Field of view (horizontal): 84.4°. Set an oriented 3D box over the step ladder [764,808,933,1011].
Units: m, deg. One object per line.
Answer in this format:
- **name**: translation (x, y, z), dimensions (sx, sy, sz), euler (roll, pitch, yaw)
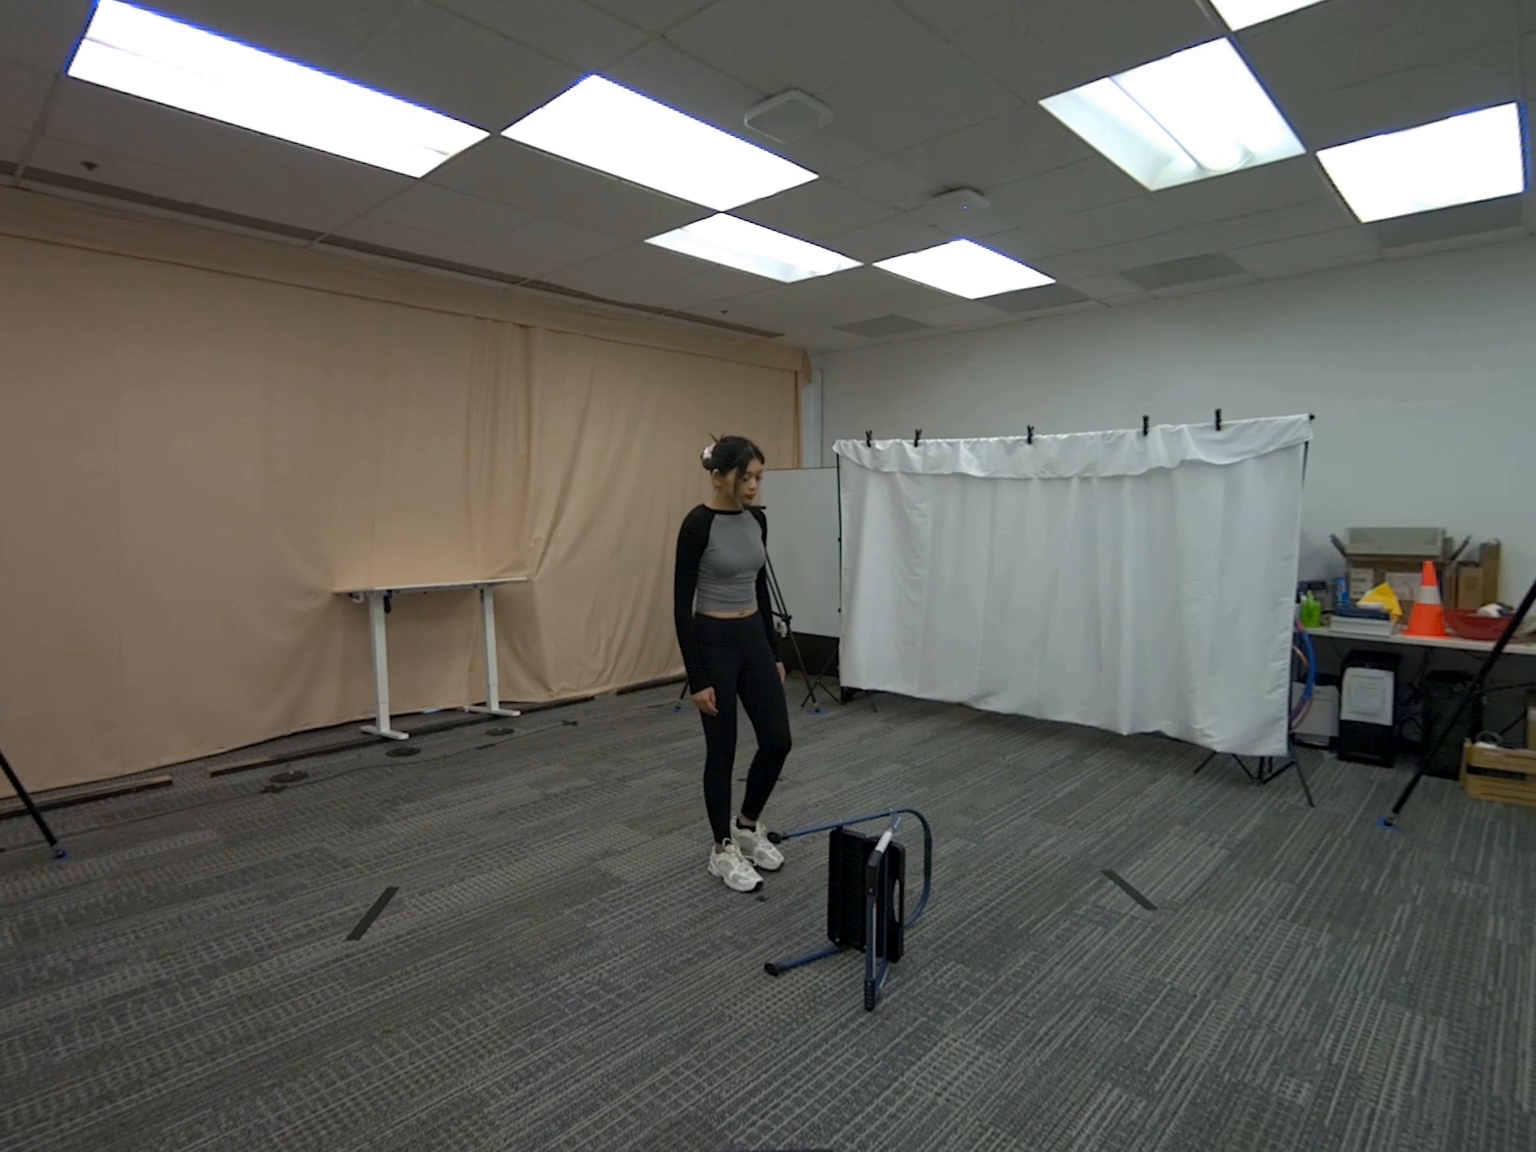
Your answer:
- **step ladder**: translation (0.315, 0.967, 2.626), dimensions (0.360, 0.430, 0.588), euler (4, 5, 35)
